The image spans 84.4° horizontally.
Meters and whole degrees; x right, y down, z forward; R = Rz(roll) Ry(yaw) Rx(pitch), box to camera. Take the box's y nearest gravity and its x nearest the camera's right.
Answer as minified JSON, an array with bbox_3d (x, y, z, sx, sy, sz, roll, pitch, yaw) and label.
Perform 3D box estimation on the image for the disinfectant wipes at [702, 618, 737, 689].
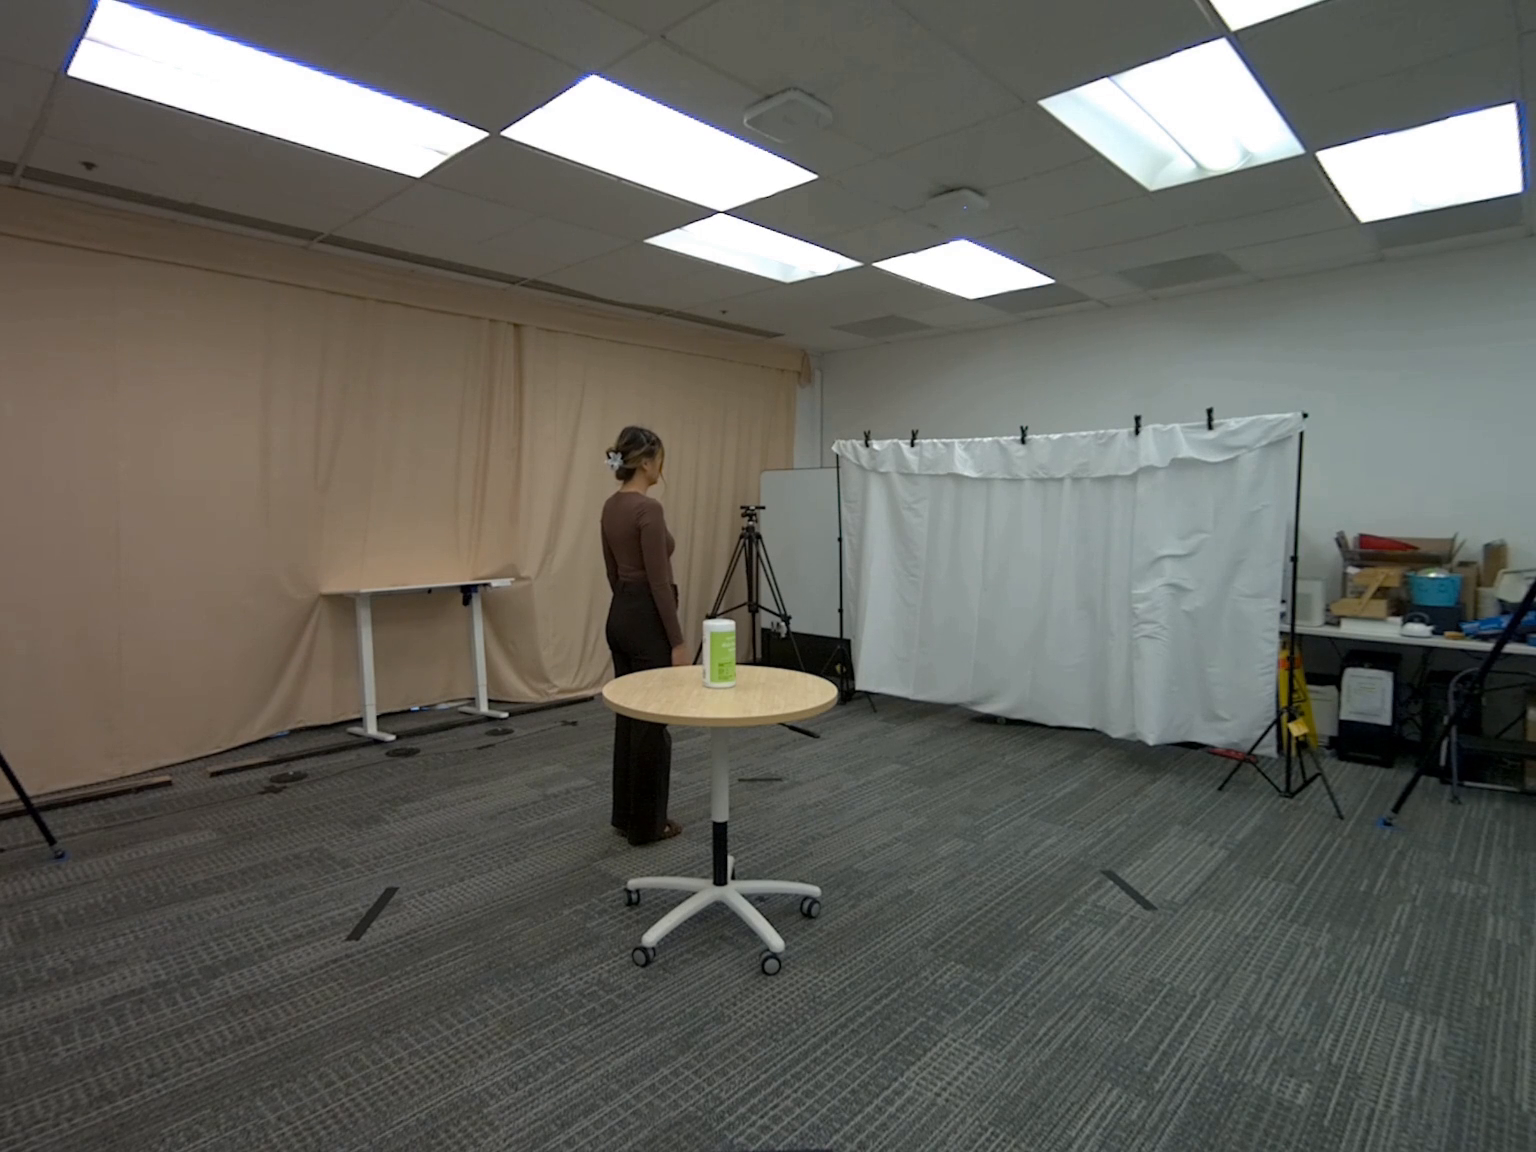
[{"bbox_3d":[-0.161,0.258,2.788,0.118,0.217,0.118,1,2,-2],"label":"disinfectant wipes"}]
